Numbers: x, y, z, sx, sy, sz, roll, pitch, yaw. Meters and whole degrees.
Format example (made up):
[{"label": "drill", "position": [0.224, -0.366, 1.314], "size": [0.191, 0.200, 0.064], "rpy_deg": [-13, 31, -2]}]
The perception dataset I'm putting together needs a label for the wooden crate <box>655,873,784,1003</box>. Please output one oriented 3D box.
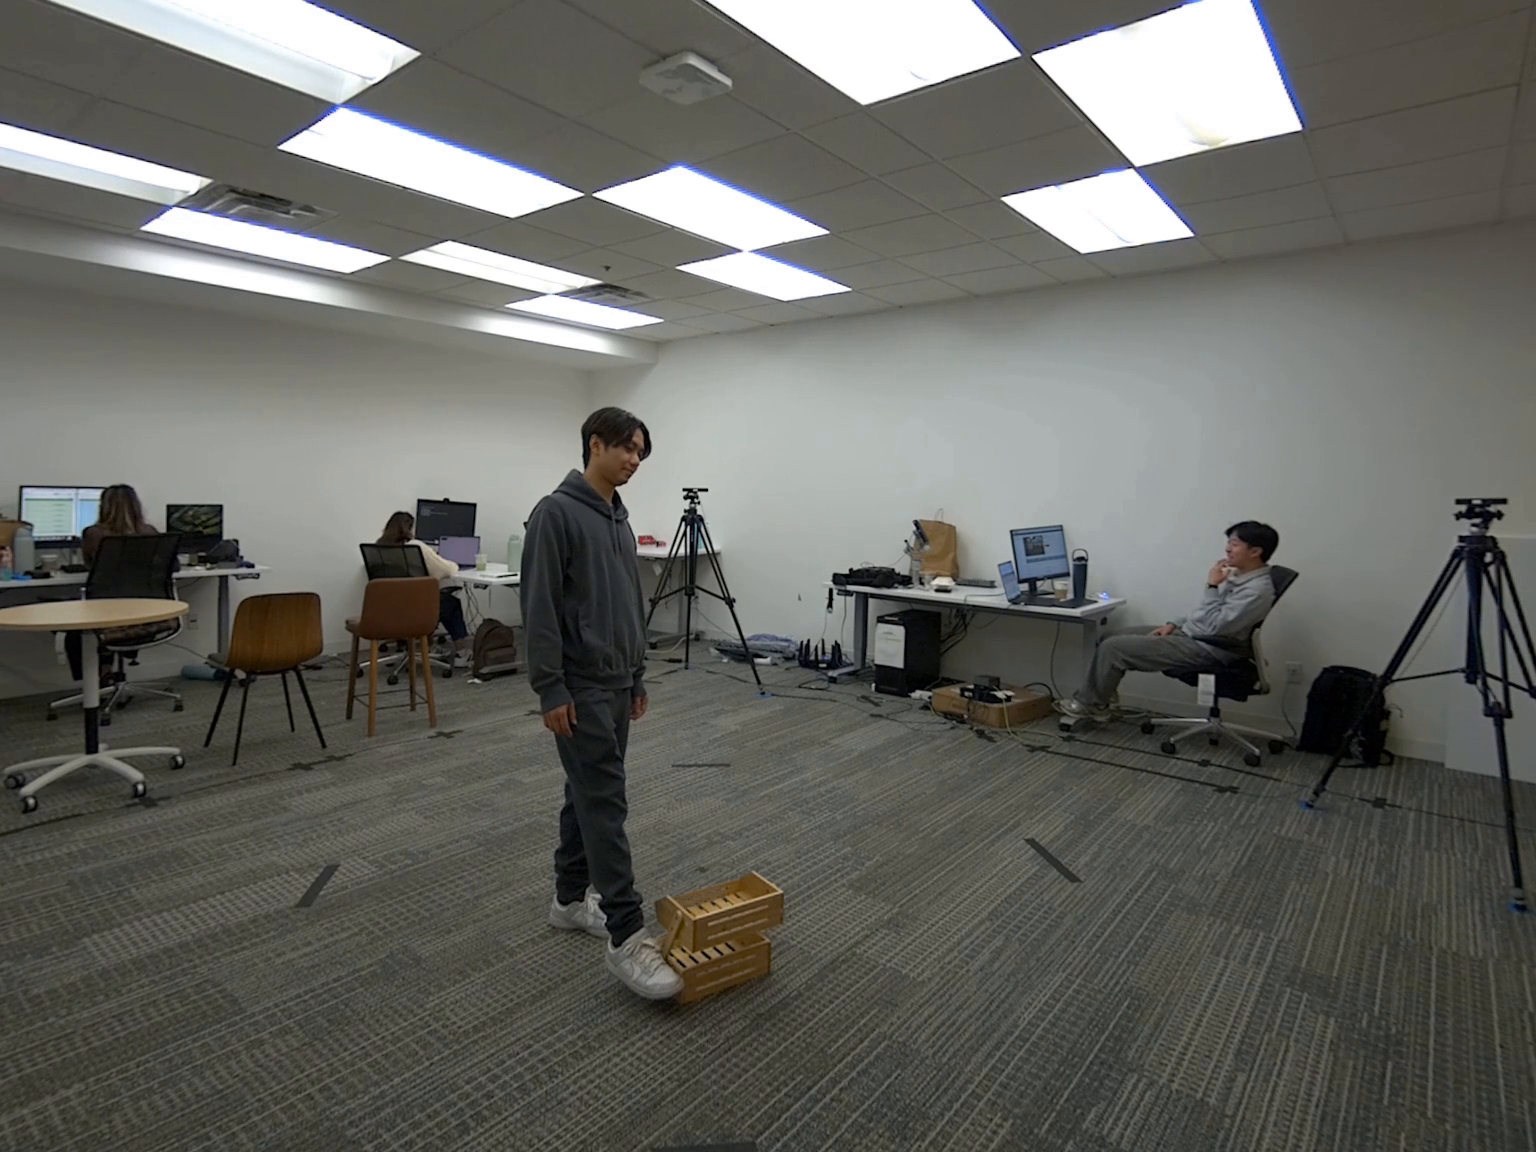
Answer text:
[{"label": "wooden crate", "position": [-0.179, 0.999, 2.442], "size": [0.315, 0.272, 0.312], "rpy_deg": [-2, 7, -35]}]
